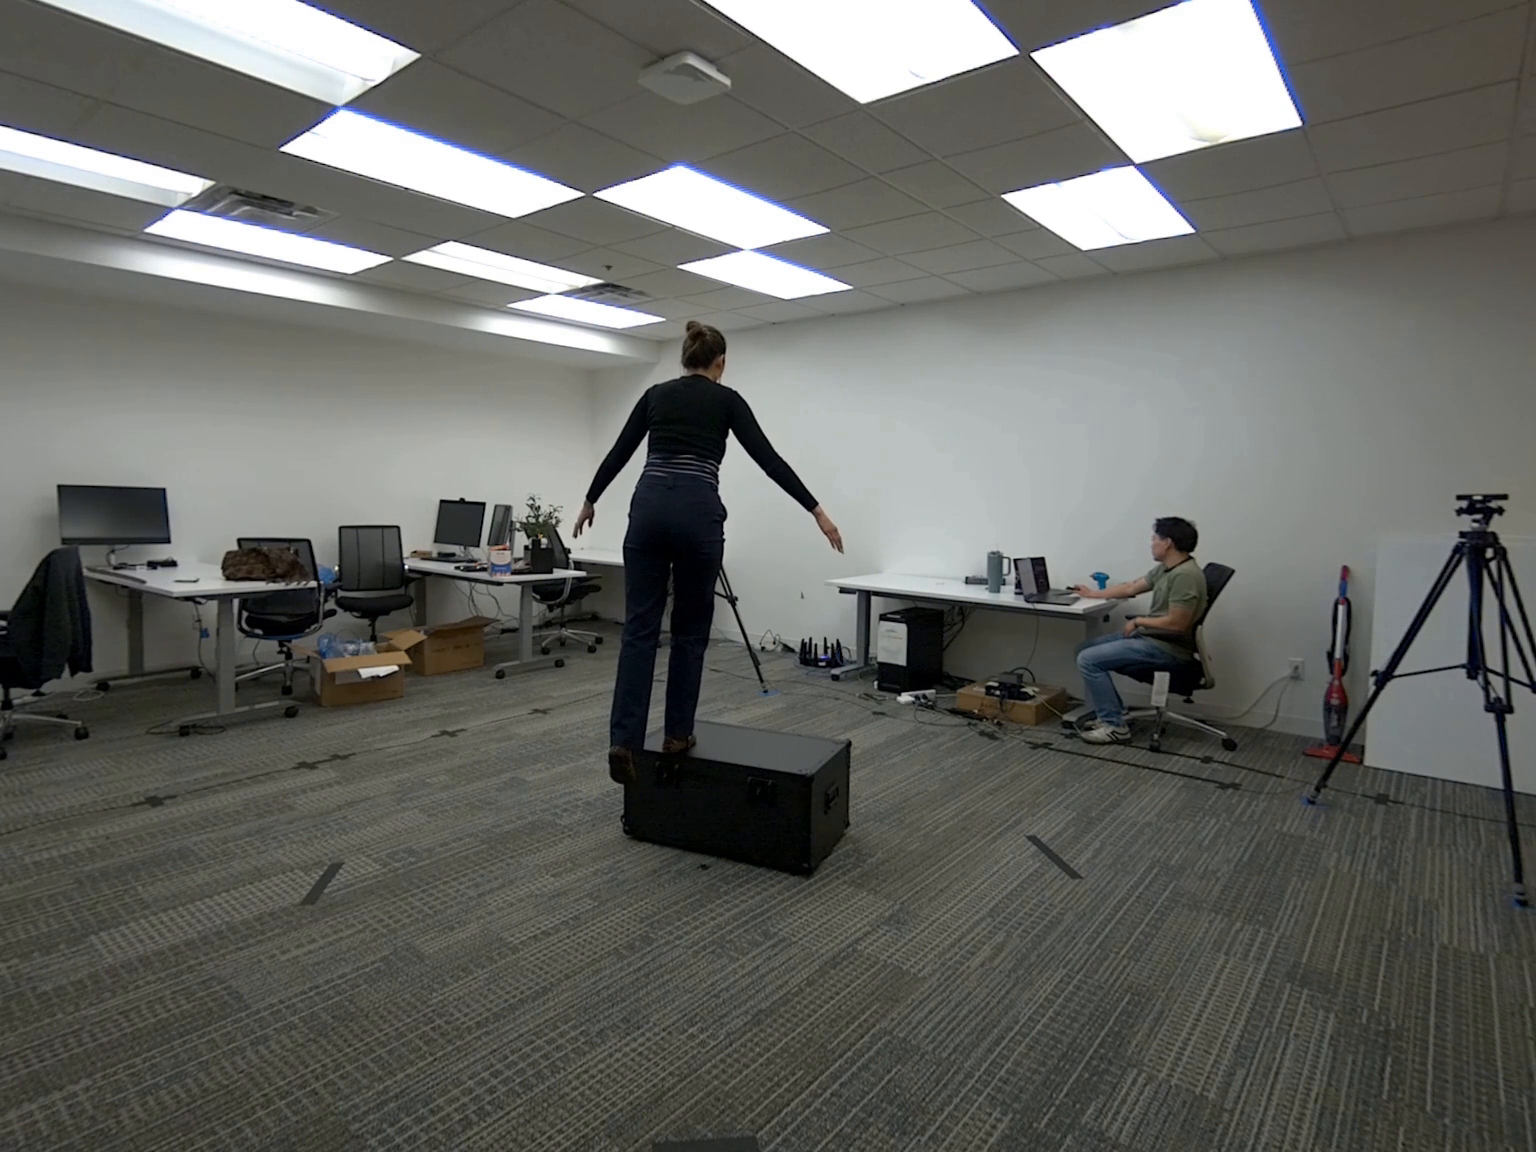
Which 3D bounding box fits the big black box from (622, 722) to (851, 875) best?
[{"bbox_3d":[-0.156,0.847,3.412,0.883,0.395,0.510,3,6,24],"label":"big black box"}]
